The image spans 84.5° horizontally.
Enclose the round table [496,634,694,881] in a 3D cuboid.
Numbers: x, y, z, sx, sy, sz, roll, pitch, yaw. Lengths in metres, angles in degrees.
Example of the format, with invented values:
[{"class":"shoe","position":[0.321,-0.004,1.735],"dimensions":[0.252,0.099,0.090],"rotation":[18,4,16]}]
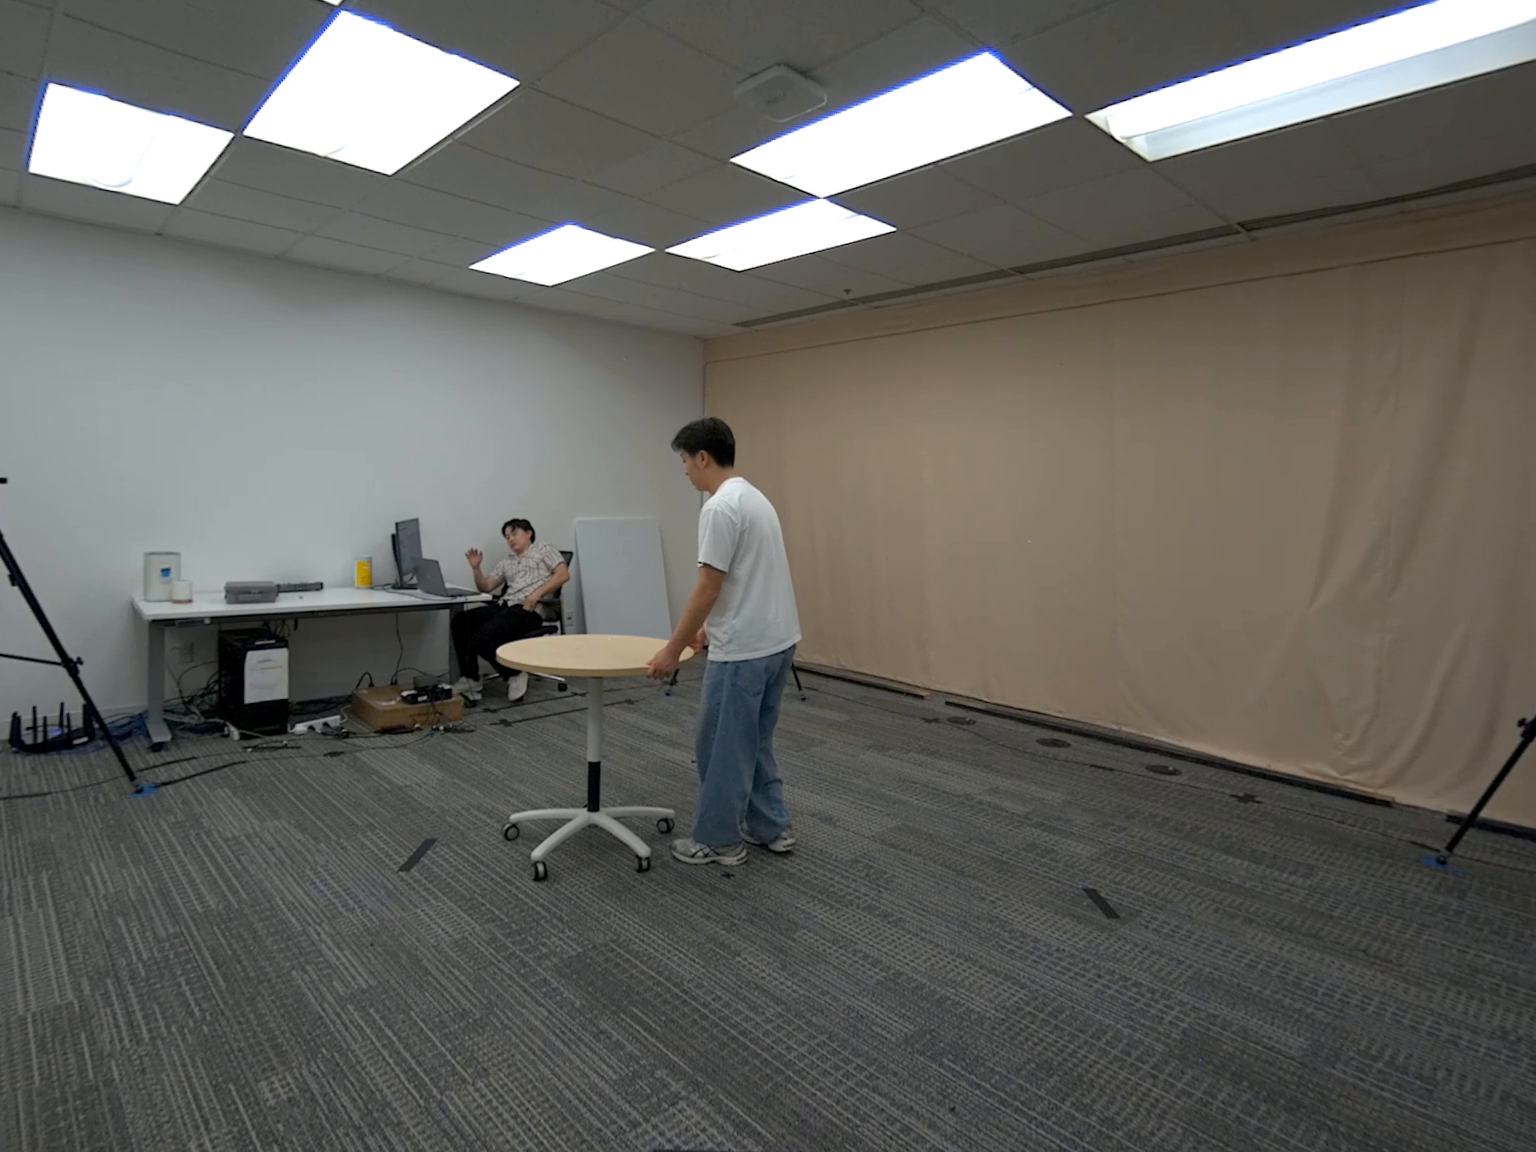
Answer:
[{"class":"round table","position":[-0.688,0.682,3.326],"dimensions":[0.763,0.792,0.766],"rotation":[2,4,-1]}]
